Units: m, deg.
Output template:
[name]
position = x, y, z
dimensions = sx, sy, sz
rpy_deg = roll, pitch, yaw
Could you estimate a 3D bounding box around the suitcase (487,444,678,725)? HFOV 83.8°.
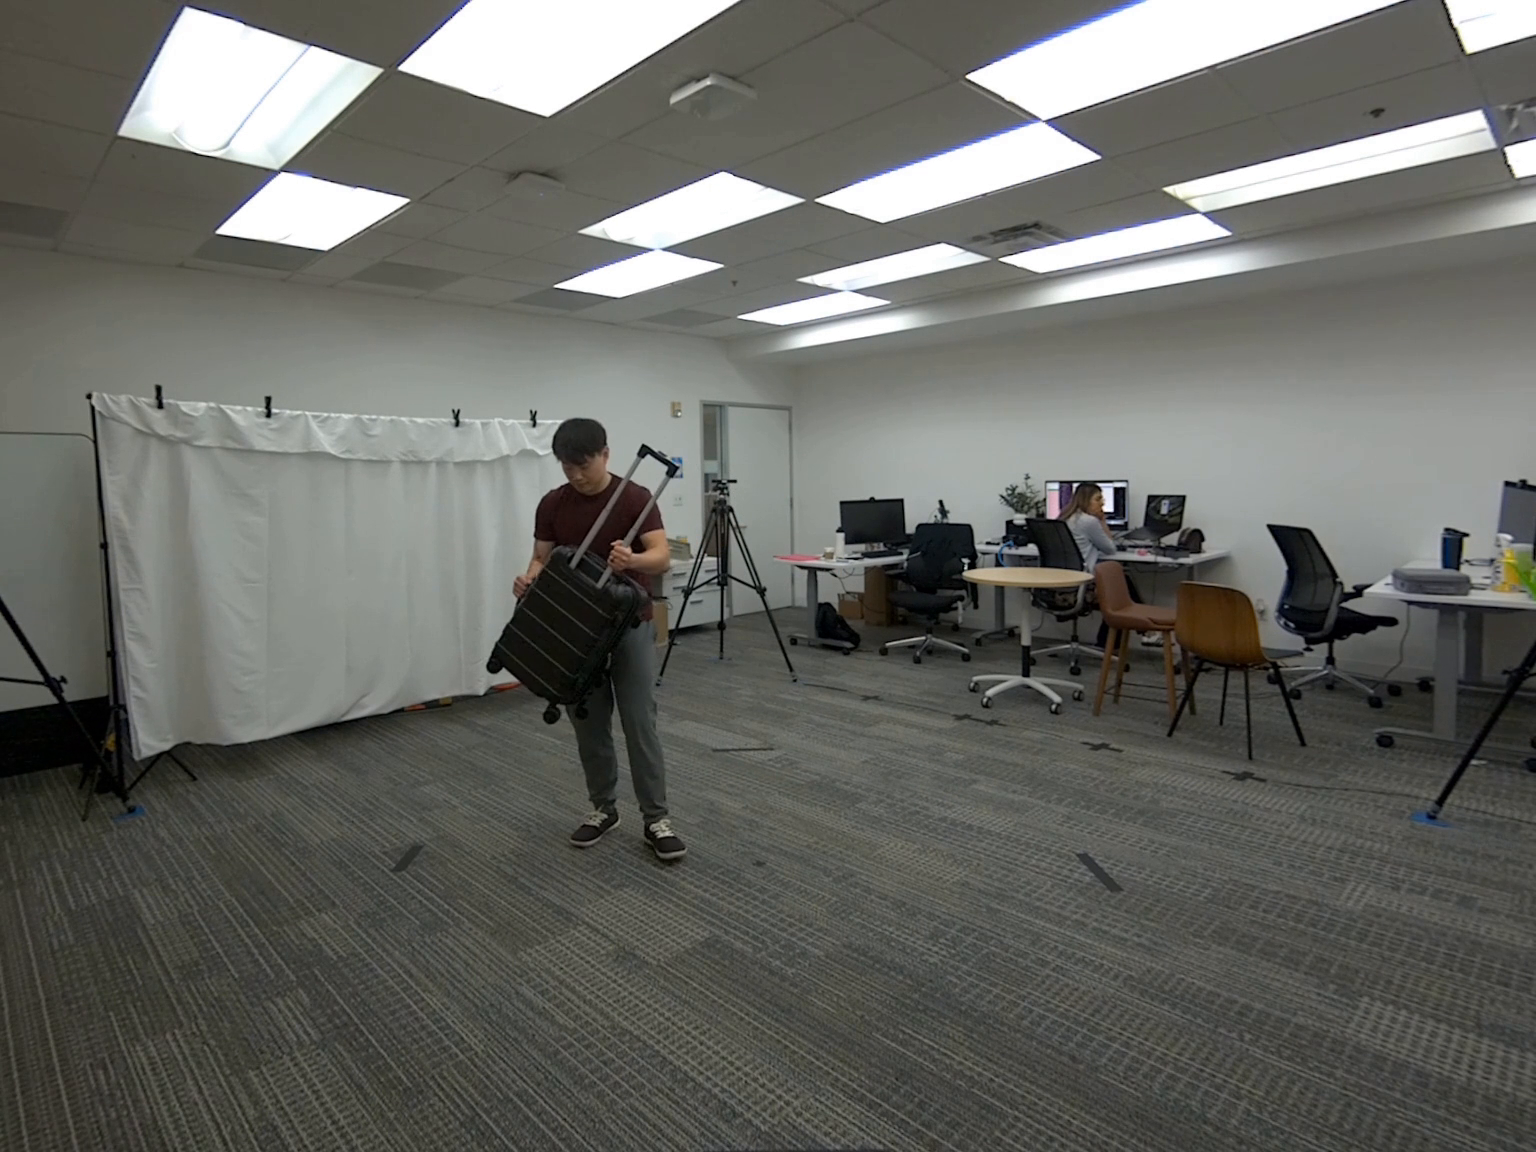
[suitcase]
position = -0.595, 0.012, 3.045
dimensions = 0.393, 0.977, 0.251
rpy_deg = 32, 5, 18
